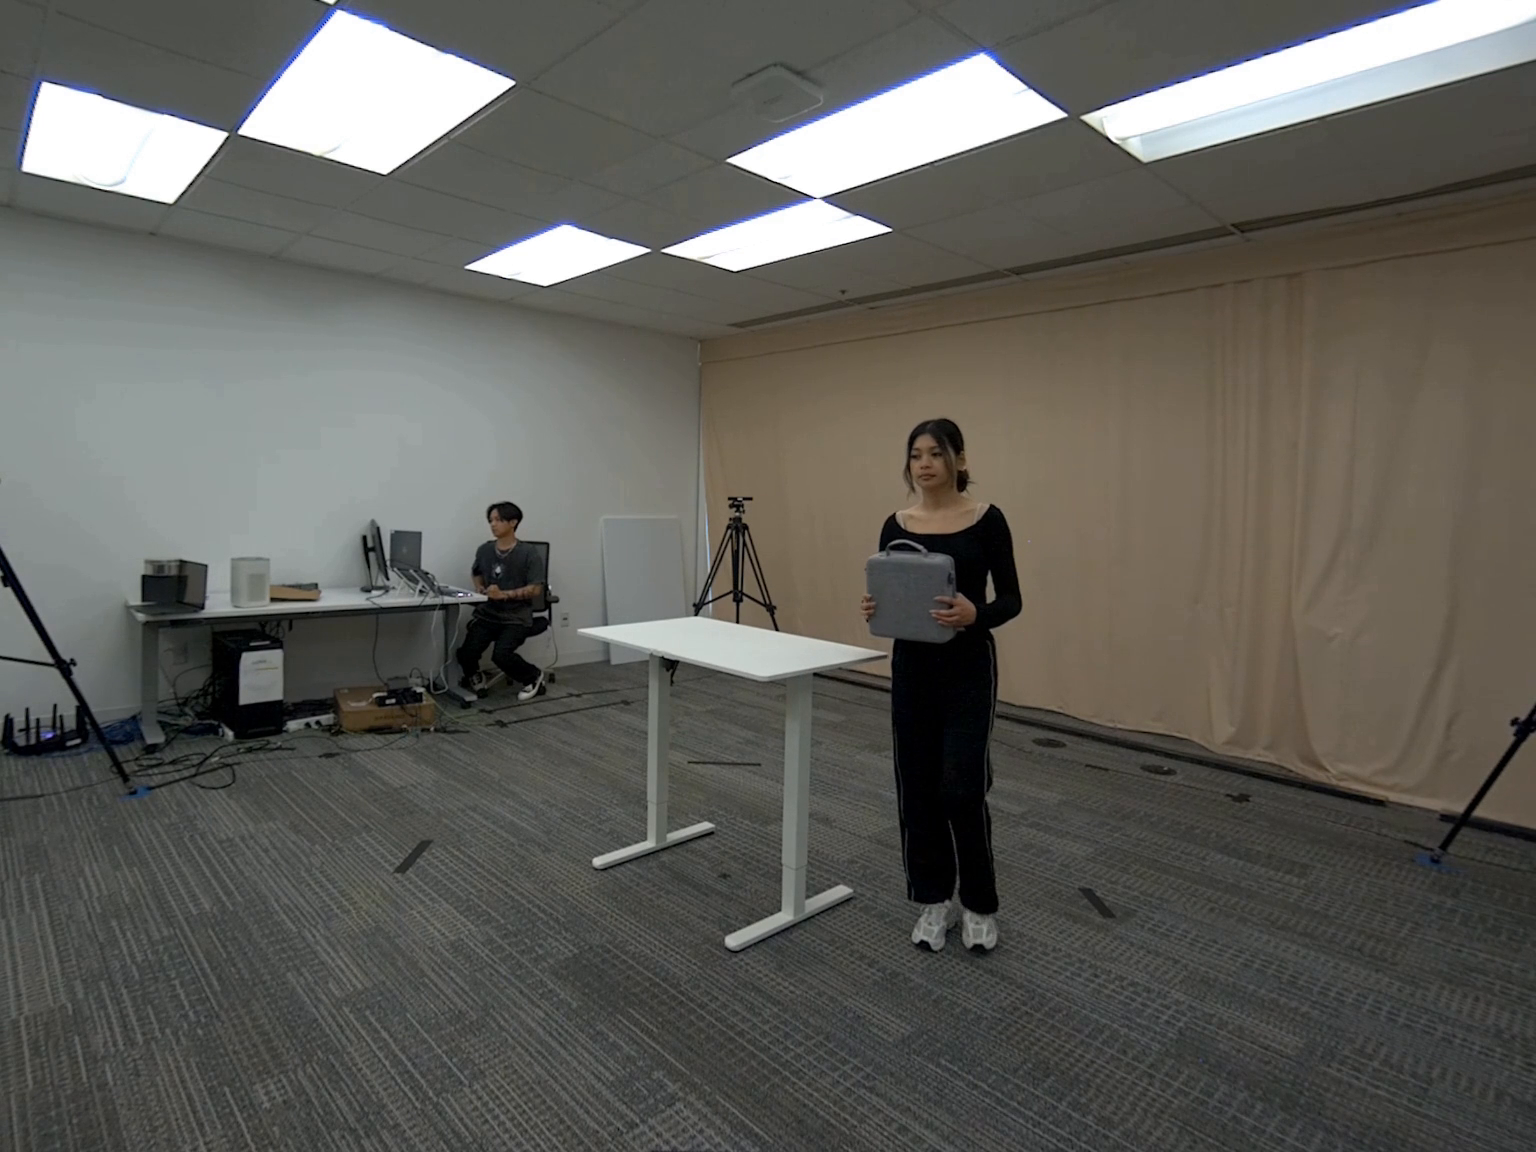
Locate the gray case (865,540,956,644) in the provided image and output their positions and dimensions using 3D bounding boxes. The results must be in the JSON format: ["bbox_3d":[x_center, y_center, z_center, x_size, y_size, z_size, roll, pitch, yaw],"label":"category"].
[{"bbox_3d":[0.415,0.058,2.472,0.263,0.259,0.102,3,12,38],"label":"gray case"}]
